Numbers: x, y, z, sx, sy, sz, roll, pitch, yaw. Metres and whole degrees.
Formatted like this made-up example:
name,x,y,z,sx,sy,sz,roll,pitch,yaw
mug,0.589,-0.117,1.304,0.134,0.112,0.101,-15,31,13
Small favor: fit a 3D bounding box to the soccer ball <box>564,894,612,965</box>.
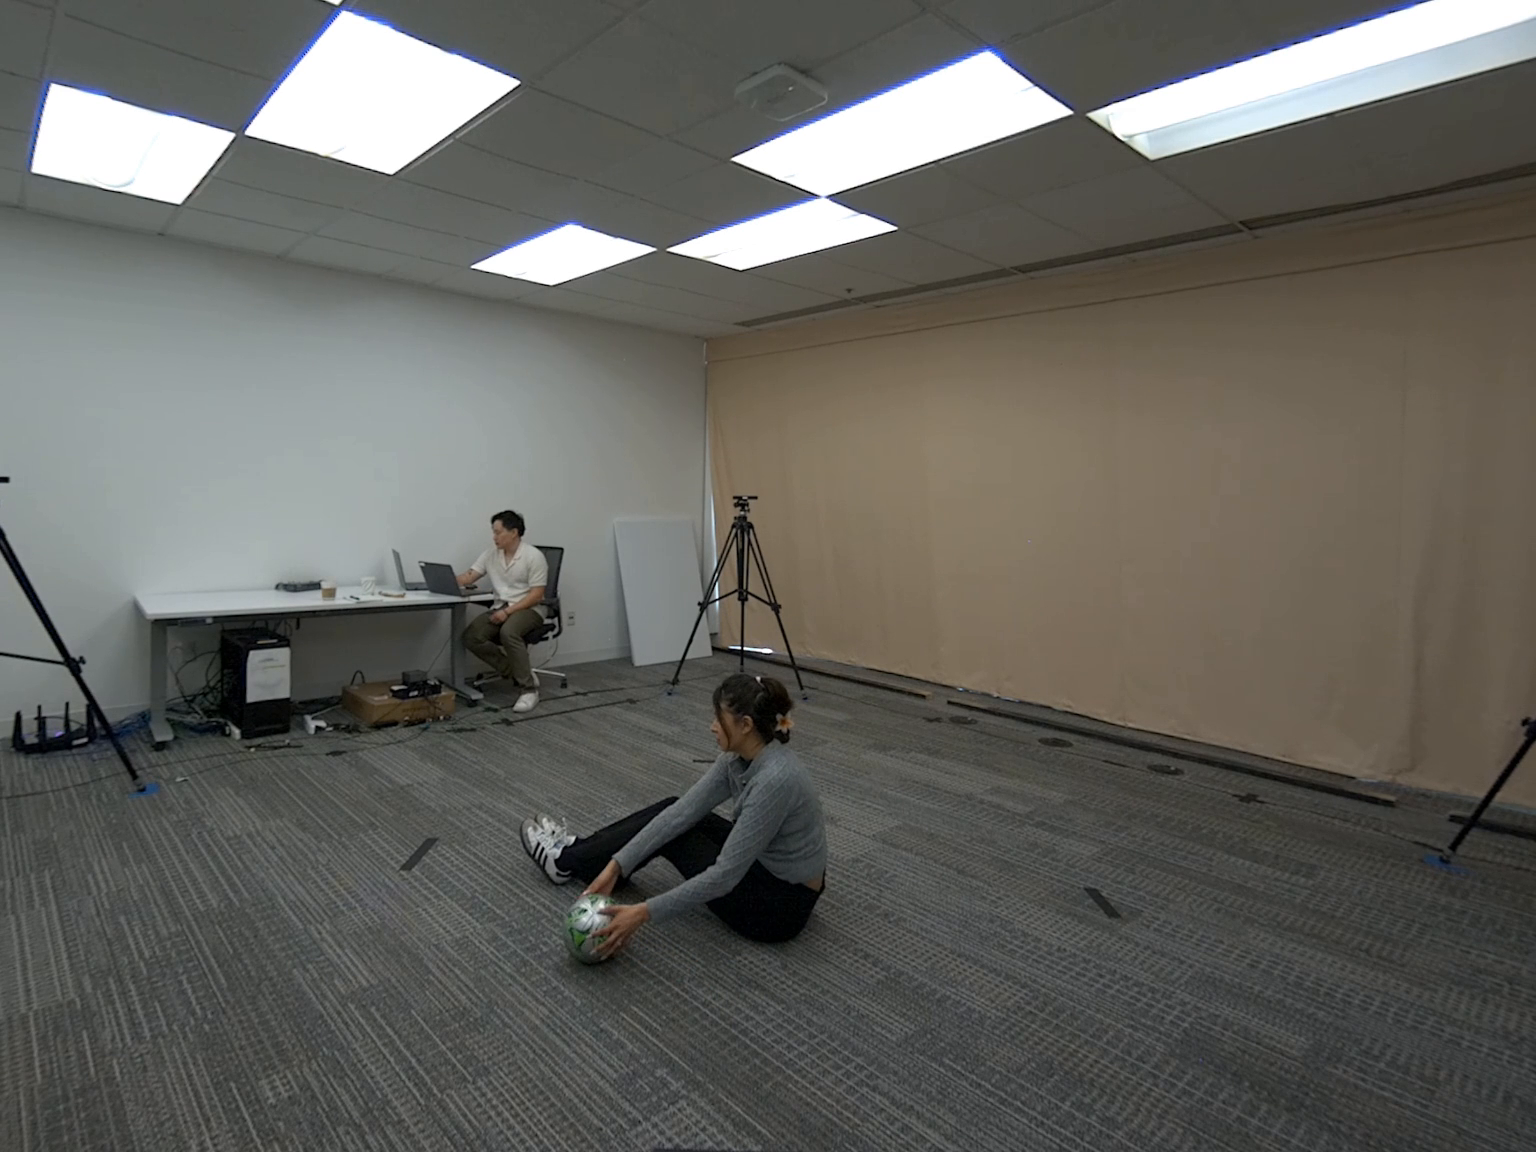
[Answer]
name,x,y,z,sx,sy,sz,roll,pitch,yaw
soccer ball,-0.535,1.041,2.527,0.187,0.187,0.188,1,4,-1
